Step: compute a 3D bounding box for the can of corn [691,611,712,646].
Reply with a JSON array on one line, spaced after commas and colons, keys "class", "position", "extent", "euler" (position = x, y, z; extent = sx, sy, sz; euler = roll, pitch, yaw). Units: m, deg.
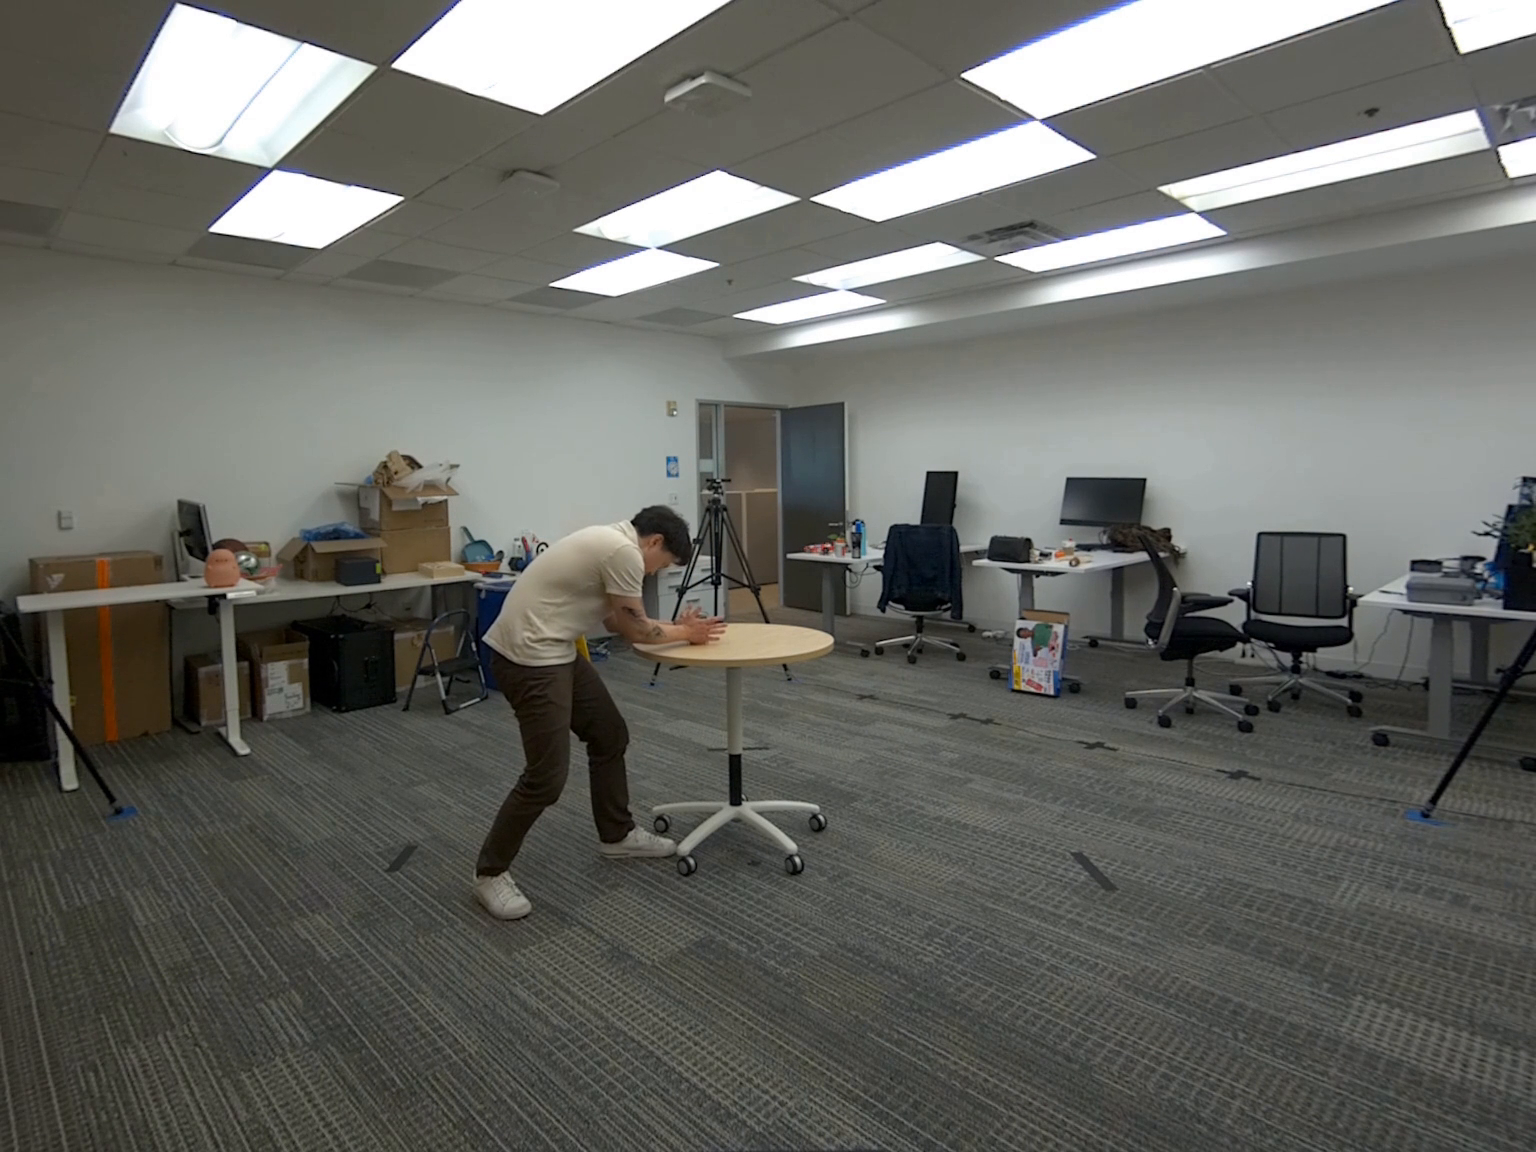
[{"class": "can of corn", "position": [-0.250, 0.195, 3.201], "extent": [0.074, 0.110, 0.075], "euler": [0, 9, -2]}]
